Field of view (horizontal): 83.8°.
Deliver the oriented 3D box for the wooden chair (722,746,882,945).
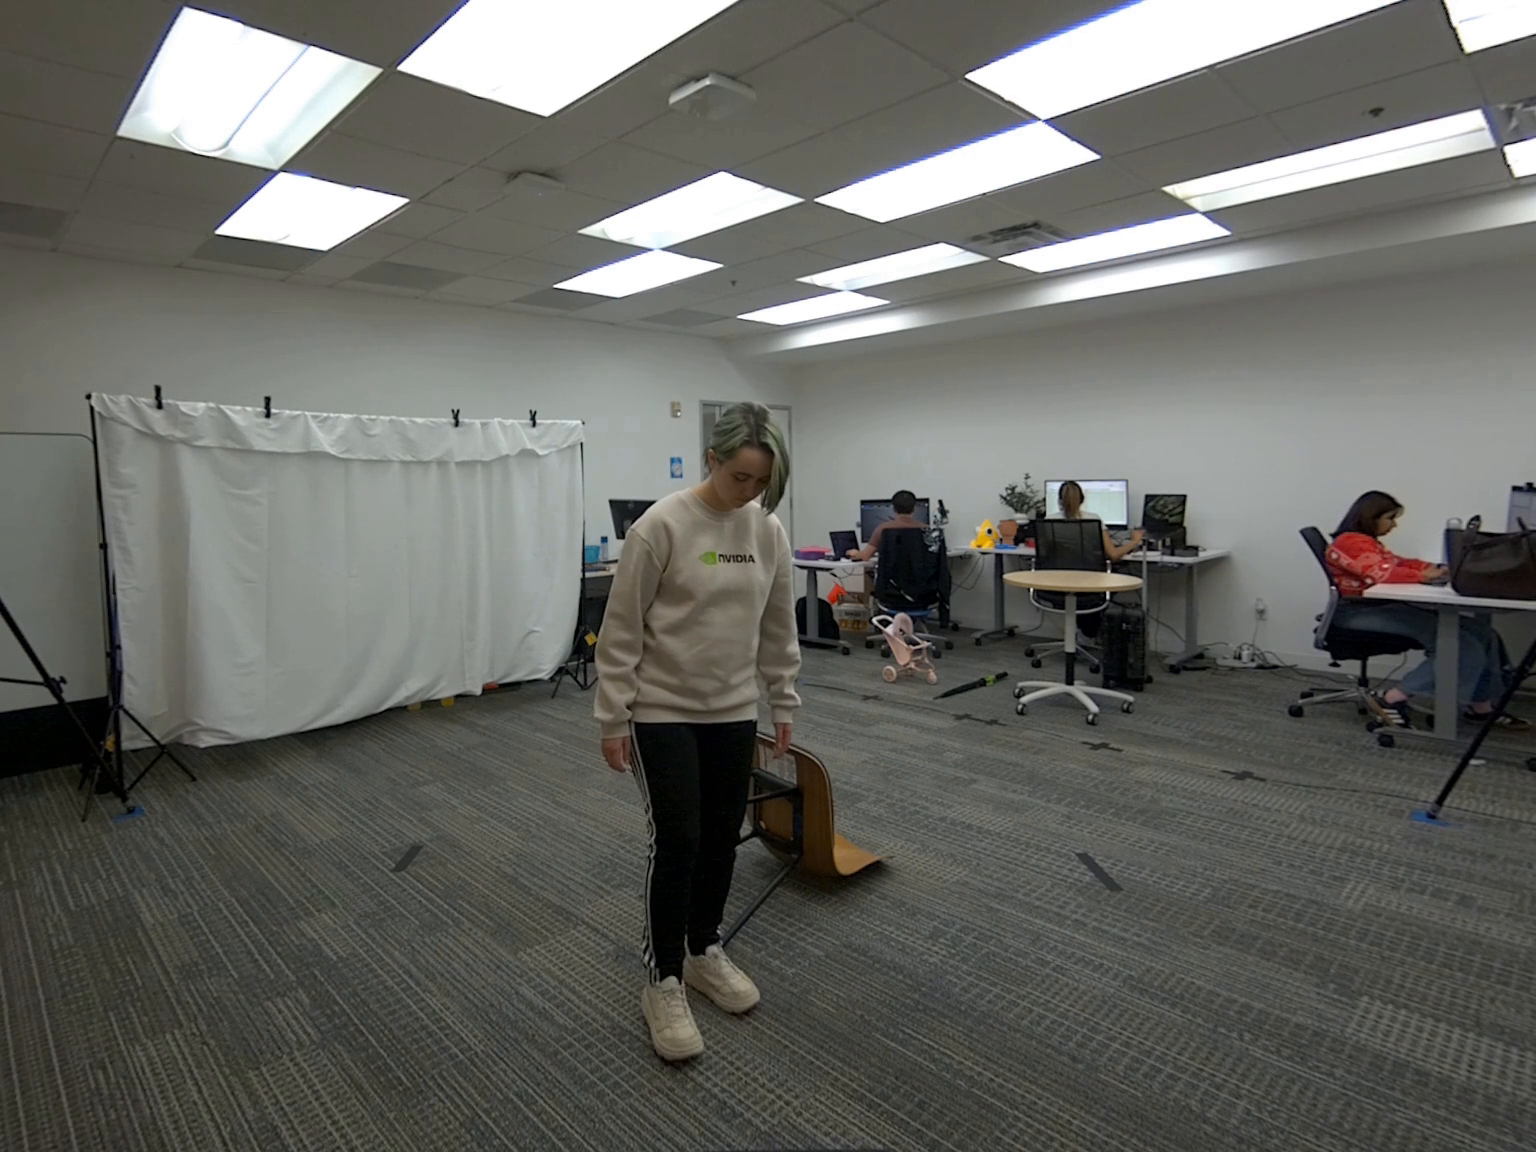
[{"bbox_3d":[0.027,0.810,2.918,0.854,0.521,0.493,-4,6,-37],"label":"wooden chair"}]
